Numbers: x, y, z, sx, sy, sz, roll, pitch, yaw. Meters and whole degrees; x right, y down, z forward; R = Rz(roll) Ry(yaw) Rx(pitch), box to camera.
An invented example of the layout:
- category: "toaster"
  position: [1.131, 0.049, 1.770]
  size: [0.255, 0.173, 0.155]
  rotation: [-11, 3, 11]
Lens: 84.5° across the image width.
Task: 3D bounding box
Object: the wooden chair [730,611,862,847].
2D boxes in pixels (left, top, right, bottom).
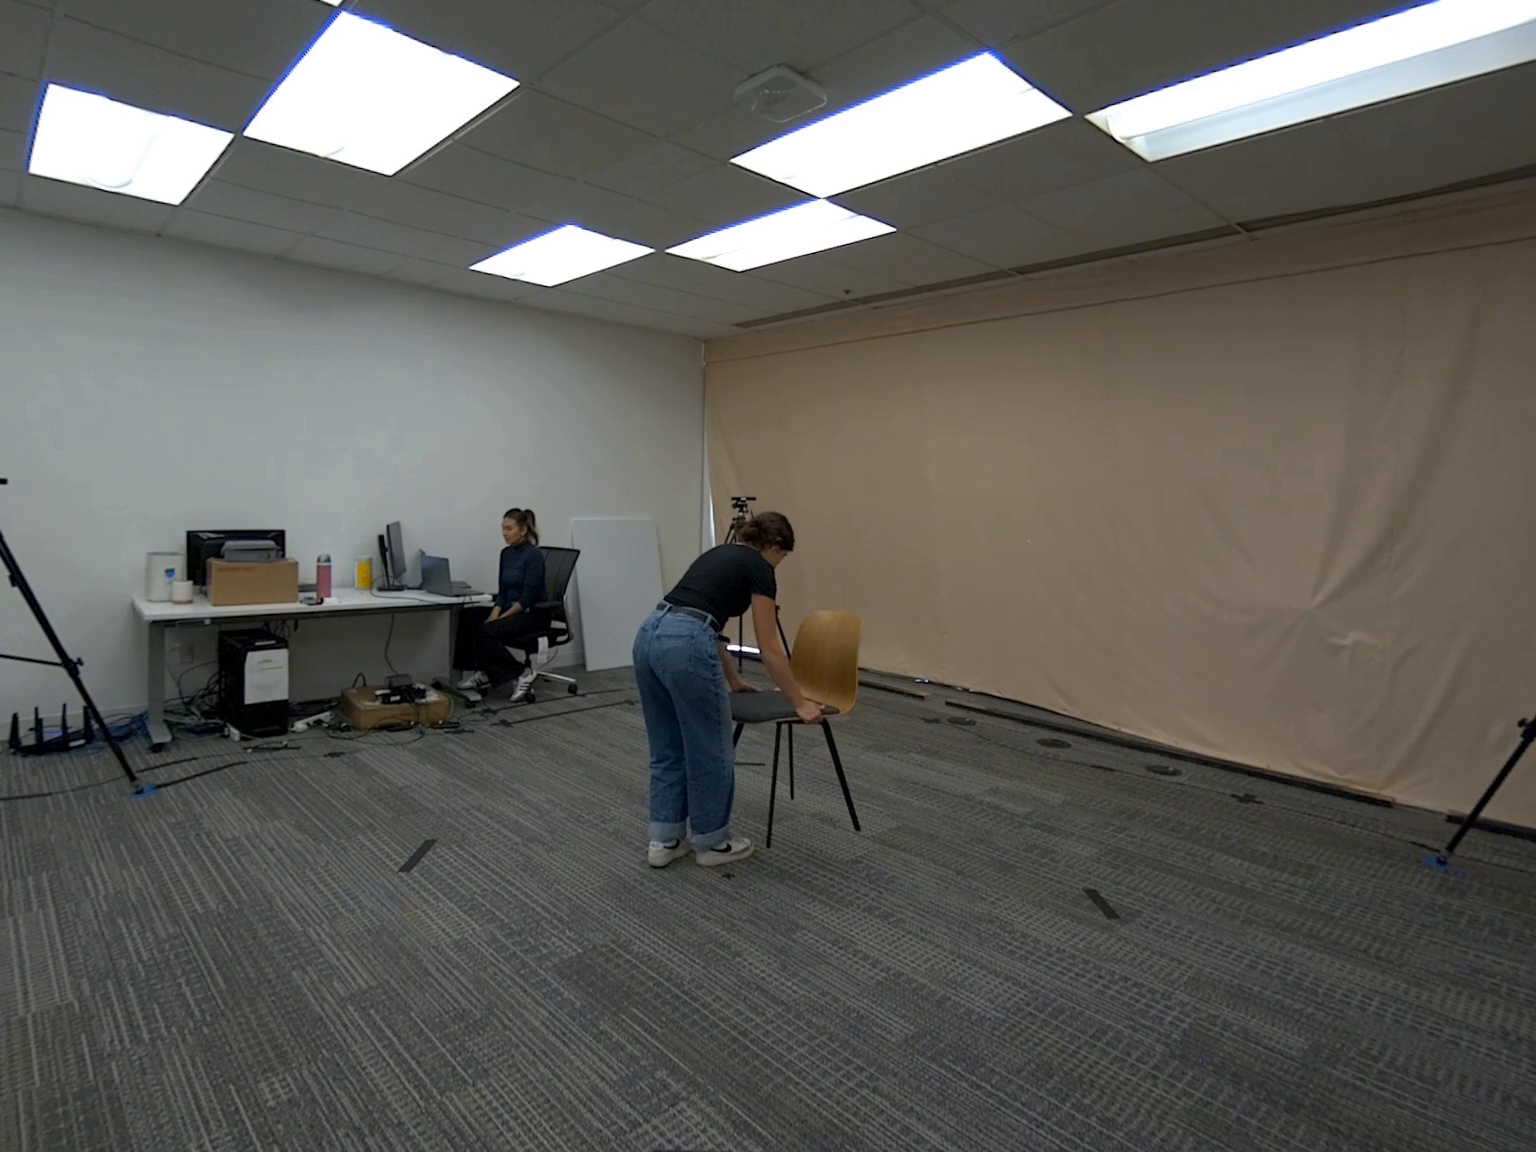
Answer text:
- category: "wooden chair"
  position: [0.065, 0.566, 3.382]
  size: [0.510, 0.878, 0.489]
  rotation: [7, -1, -34]
